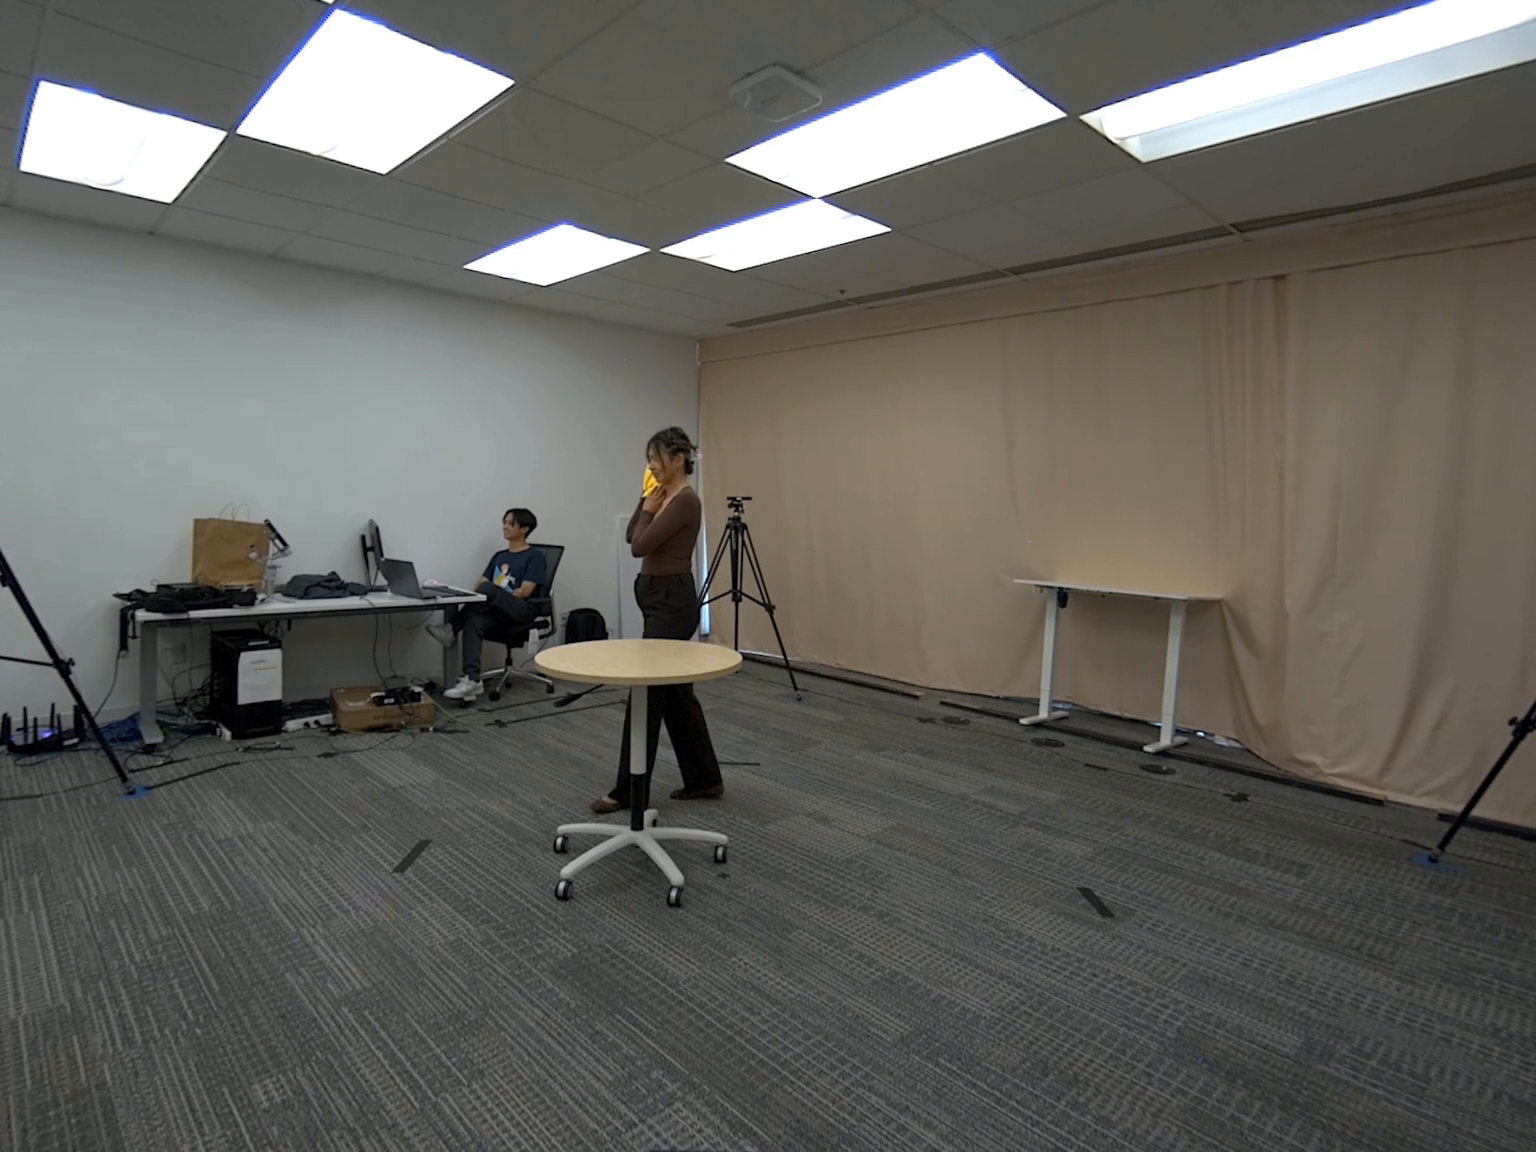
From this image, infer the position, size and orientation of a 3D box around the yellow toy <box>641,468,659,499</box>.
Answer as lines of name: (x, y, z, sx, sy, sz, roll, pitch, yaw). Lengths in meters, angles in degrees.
yellow toy: (-0.518, -0.505, 3.957, 0.190, 0.231, 0.207, -9, -4, -24)
